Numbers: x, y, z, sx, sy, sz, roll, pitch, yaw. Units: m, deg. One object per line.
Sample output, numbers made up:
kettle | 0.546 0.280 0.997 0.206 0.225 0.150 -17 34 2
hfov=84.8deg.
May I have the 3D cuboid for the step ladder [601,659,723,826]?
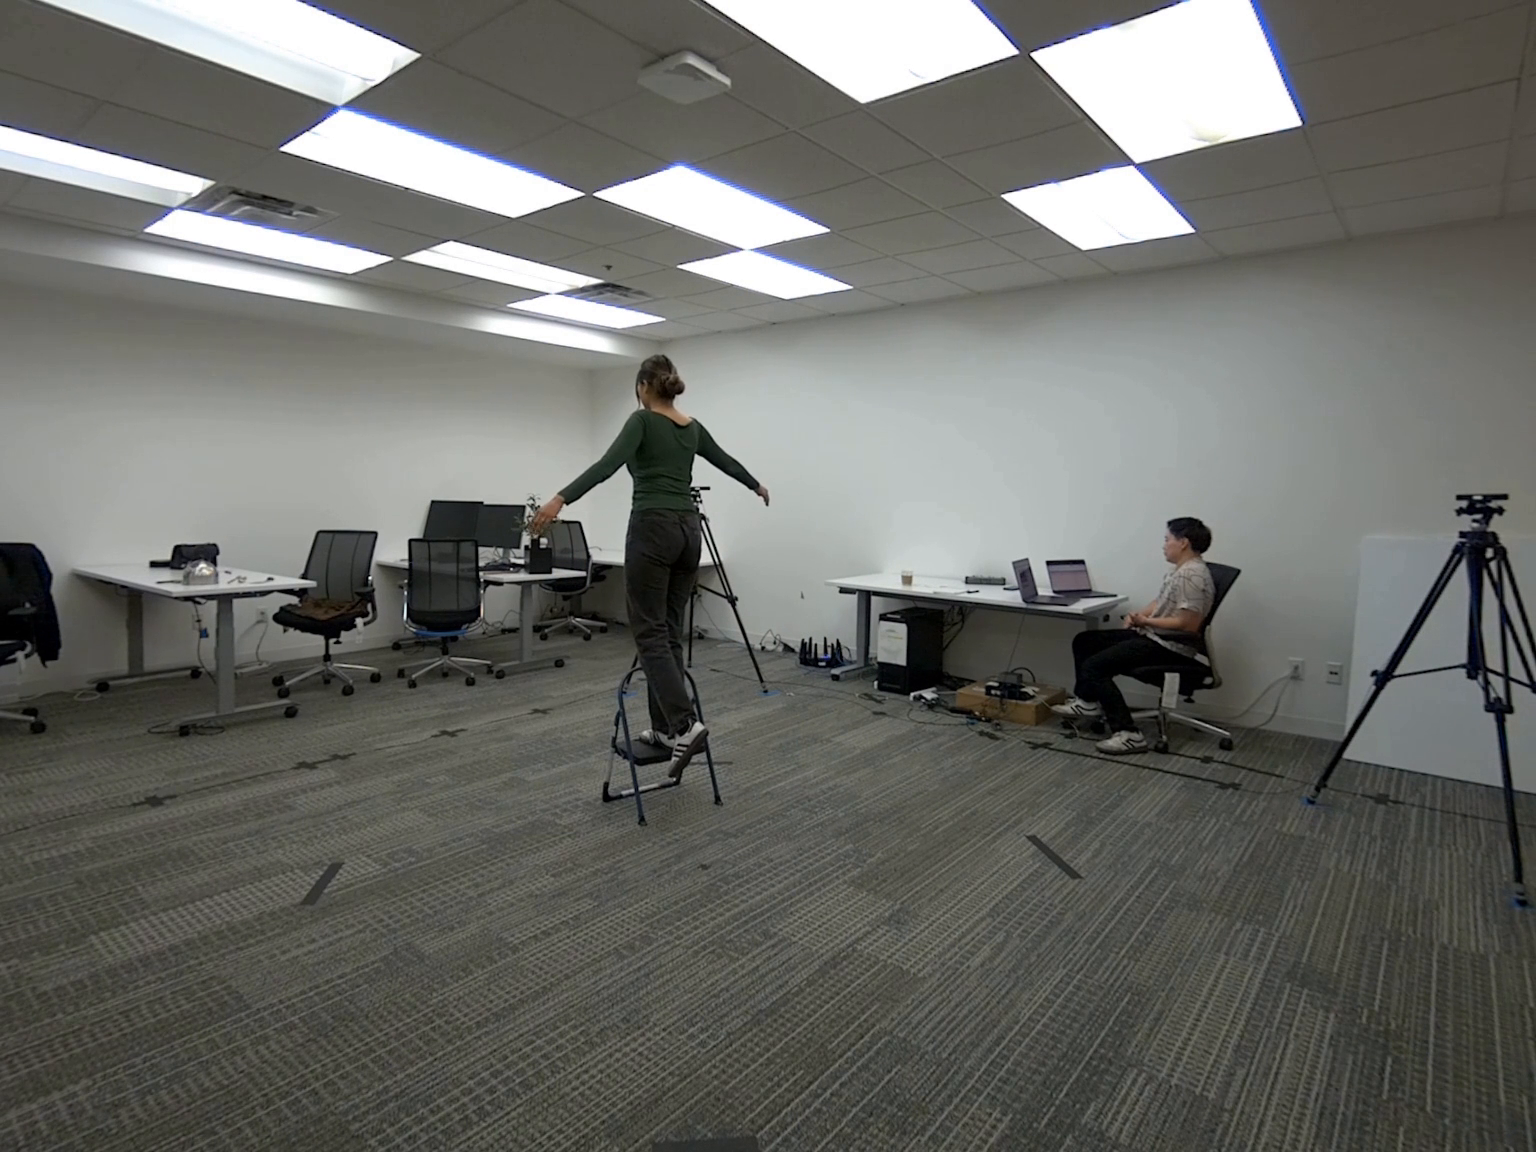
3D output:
step ladder | -0.476 0.696 3.739 0.418 0.604 0.361 -2 4 -40
